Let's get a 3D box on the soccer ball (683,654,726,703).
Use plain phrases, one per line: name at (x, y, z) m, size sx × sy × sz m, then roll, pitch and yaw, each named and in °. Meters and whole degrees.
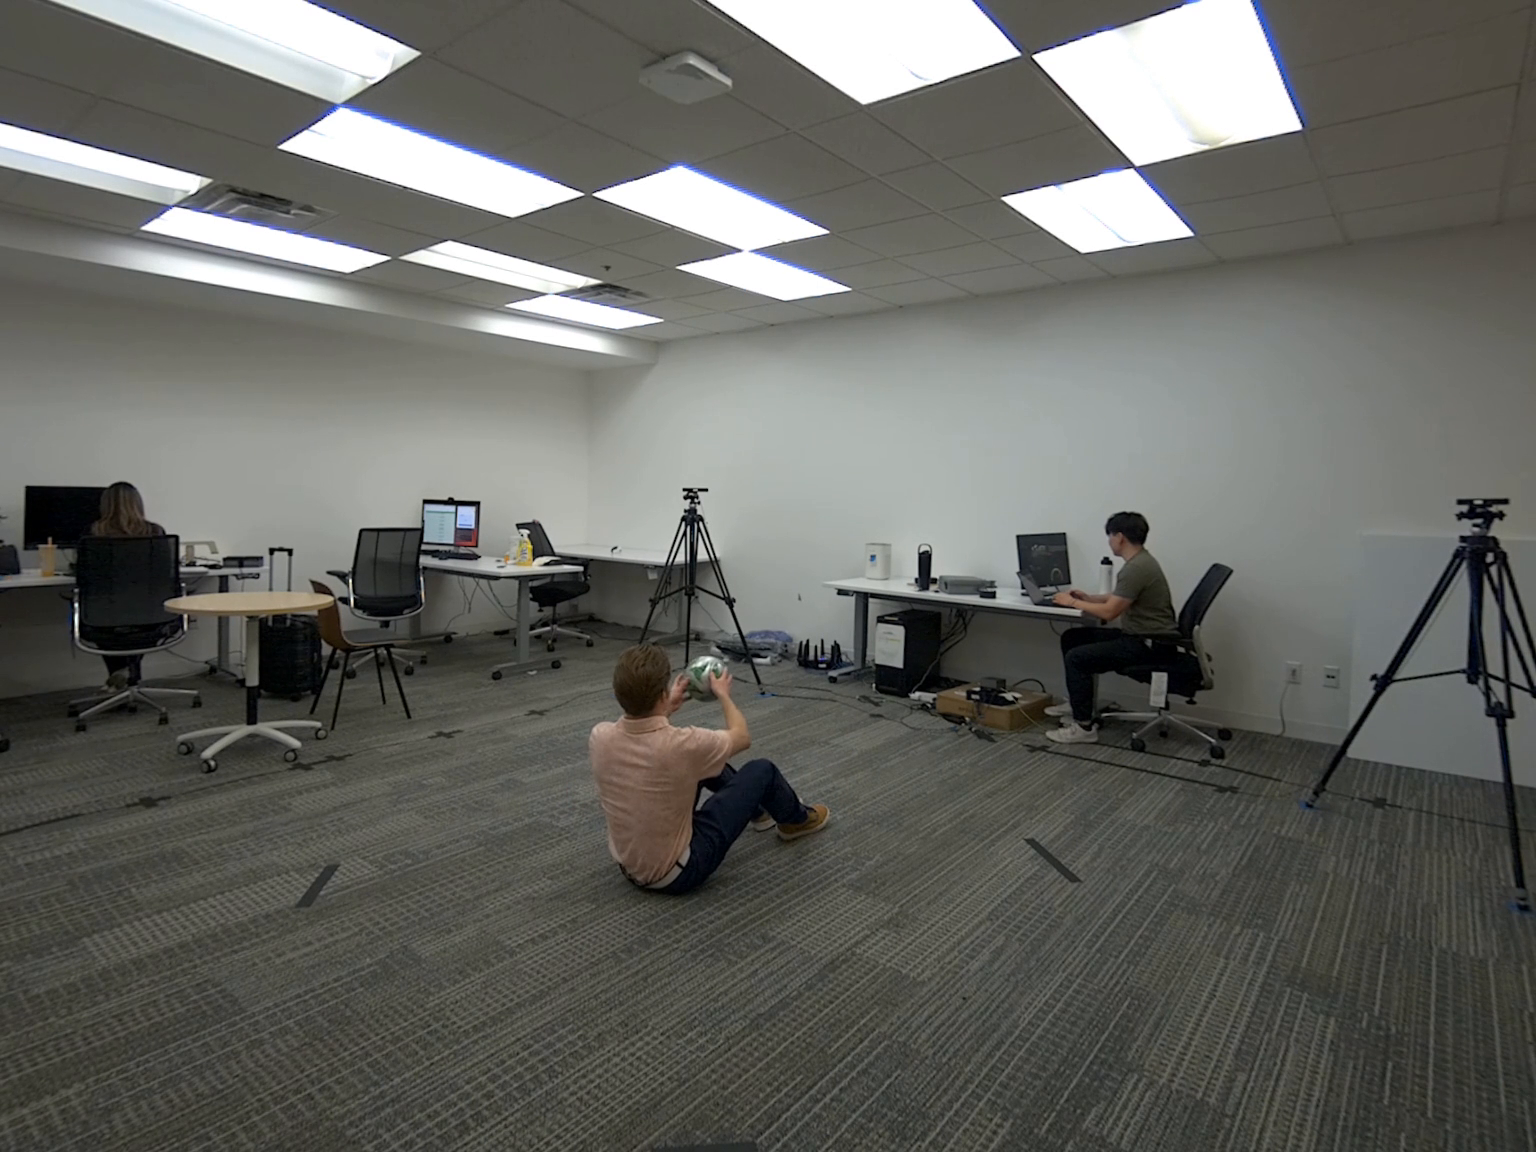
soccer ball at (-0.296, 0.445, 3.485) m, size 0.187 × 0.187 × 0.188 m, roll 1°, pitch 4°, yaw -2°
